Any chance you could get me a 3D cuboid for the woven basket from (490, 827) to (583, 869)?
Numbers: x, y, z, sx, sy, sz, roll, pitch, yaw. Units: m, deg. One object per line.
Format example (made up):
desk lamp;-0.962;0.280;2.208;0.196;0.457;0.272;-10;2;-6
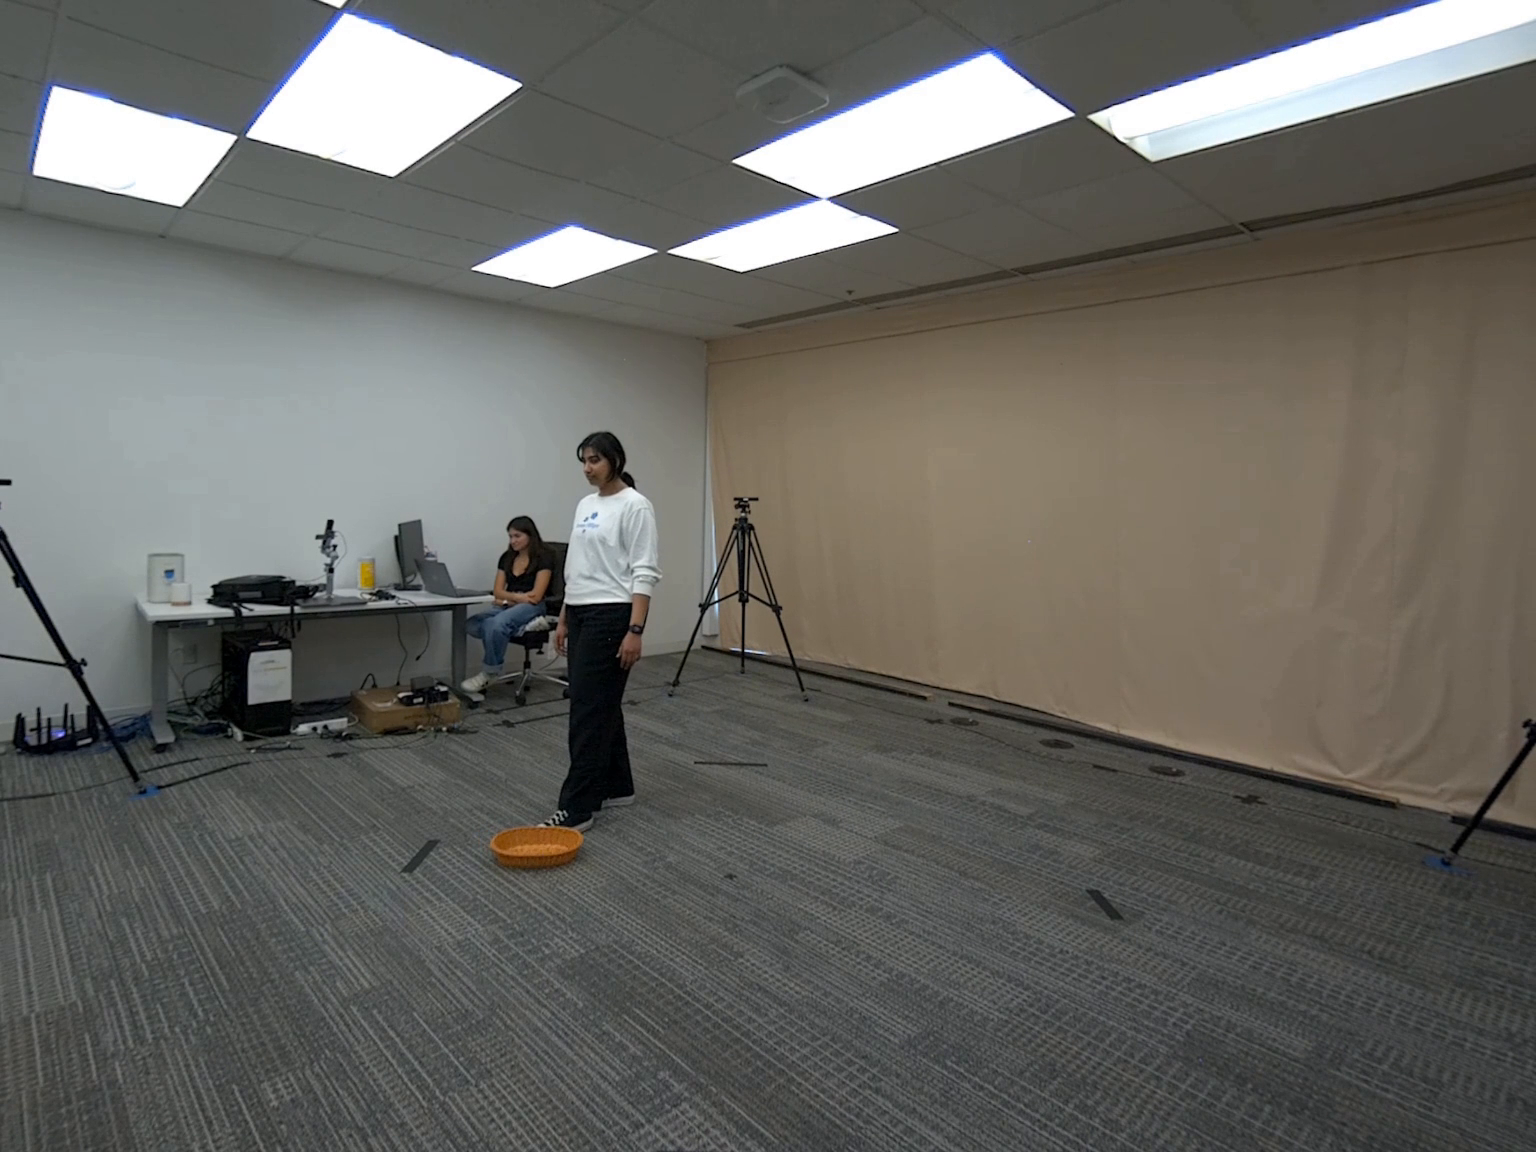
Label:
woven basket;-0.898;1.044;3.219;0.349;0.073;0.254;1;7;-4
